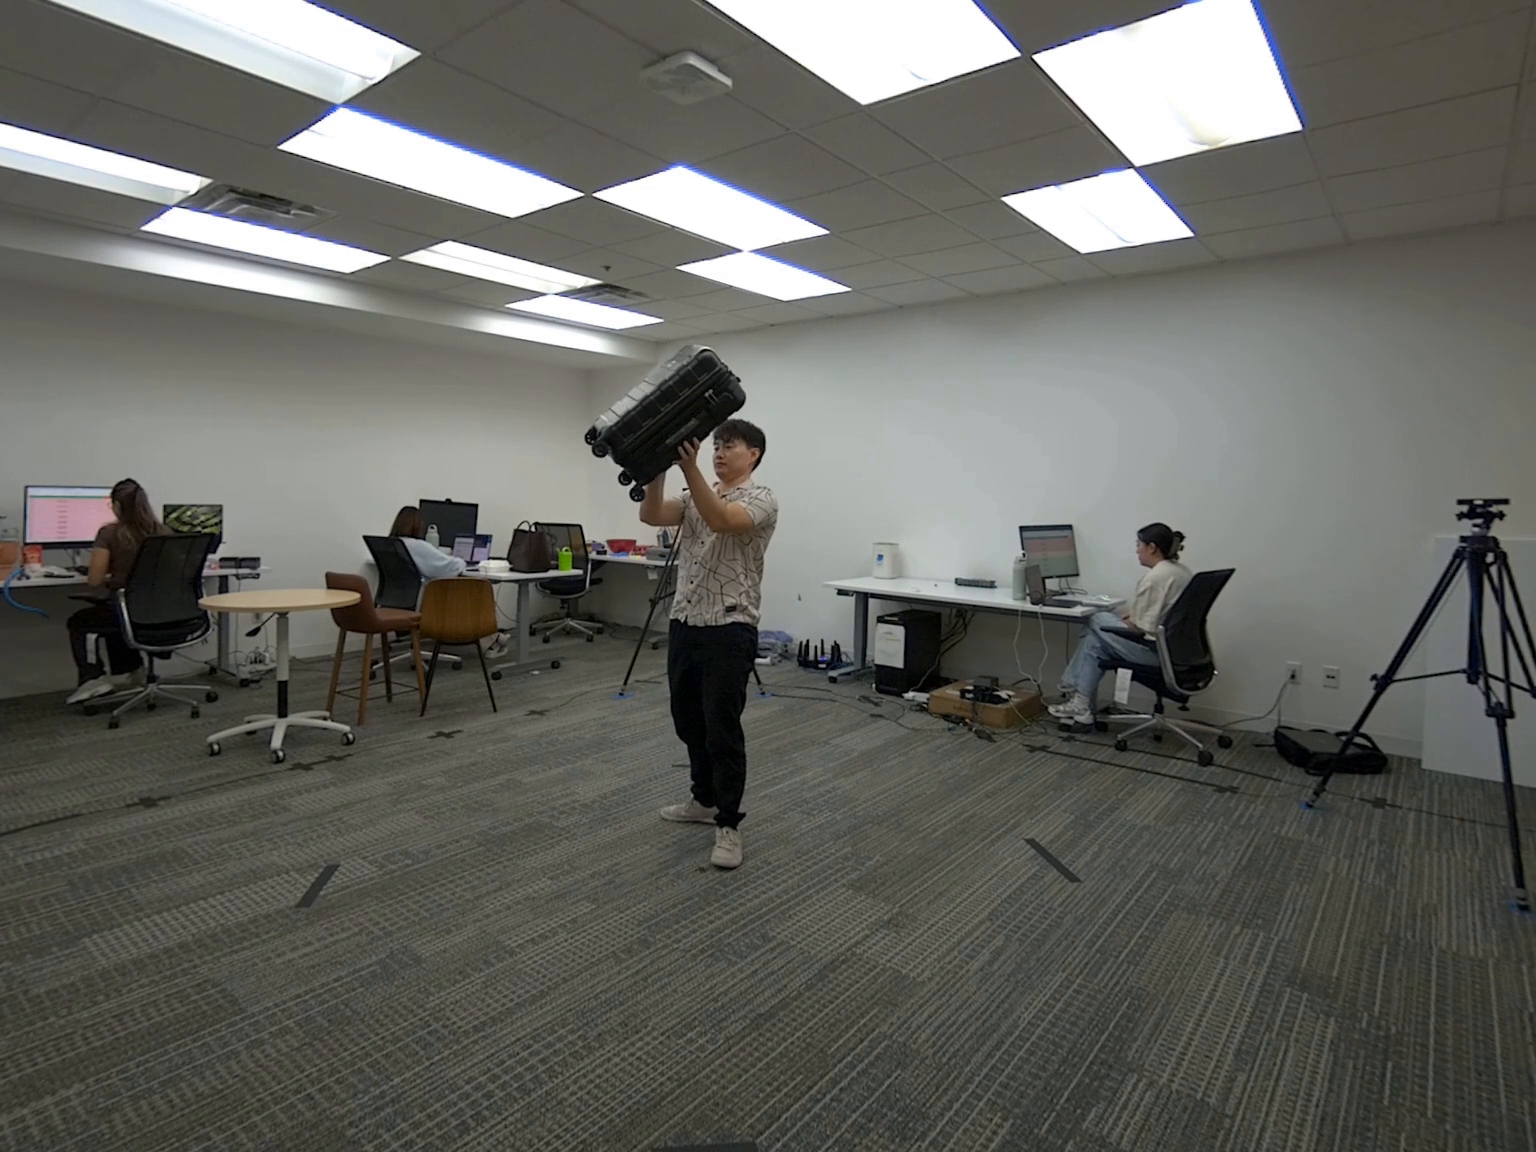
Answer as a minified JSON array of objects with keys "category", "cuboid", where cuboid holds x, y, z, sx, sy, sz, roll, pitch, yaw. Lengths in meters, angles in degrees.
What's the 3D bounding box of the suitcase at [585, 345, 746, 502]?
[{"category":"suitcase","cuboid":[-0.372,-0.568,2.995,0.549,0.241,0.386,-41,22,-2]}]
